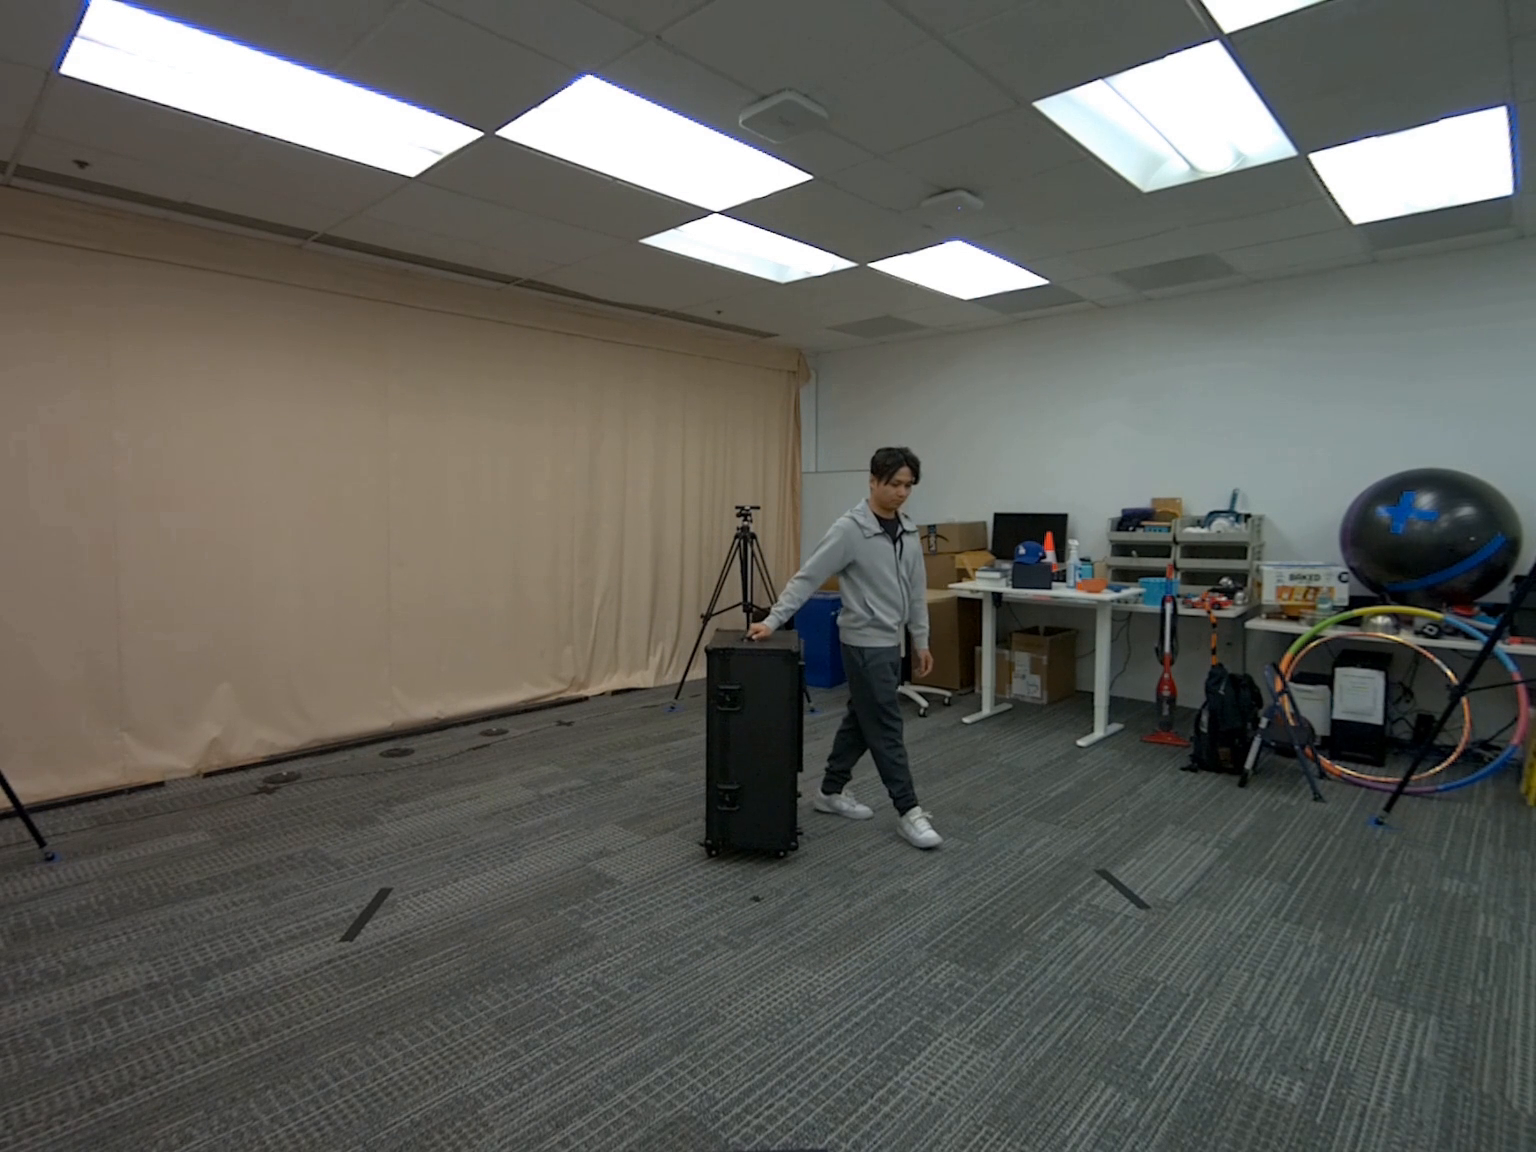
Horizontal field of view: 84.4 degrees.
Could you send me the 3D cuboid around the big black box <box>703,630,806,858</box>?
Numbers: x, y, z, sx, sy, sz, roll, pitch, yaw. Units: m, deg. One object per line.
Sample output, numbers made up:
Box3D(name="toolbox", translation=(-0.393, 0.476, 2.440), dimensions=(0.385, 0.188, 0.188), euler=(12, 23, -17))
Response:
Box3D(name="big black box", translation=(-0.045, 0.681, 3.461), dimensions=(0.398, 0.860, 0.520), euler=(1, 3, 2))
